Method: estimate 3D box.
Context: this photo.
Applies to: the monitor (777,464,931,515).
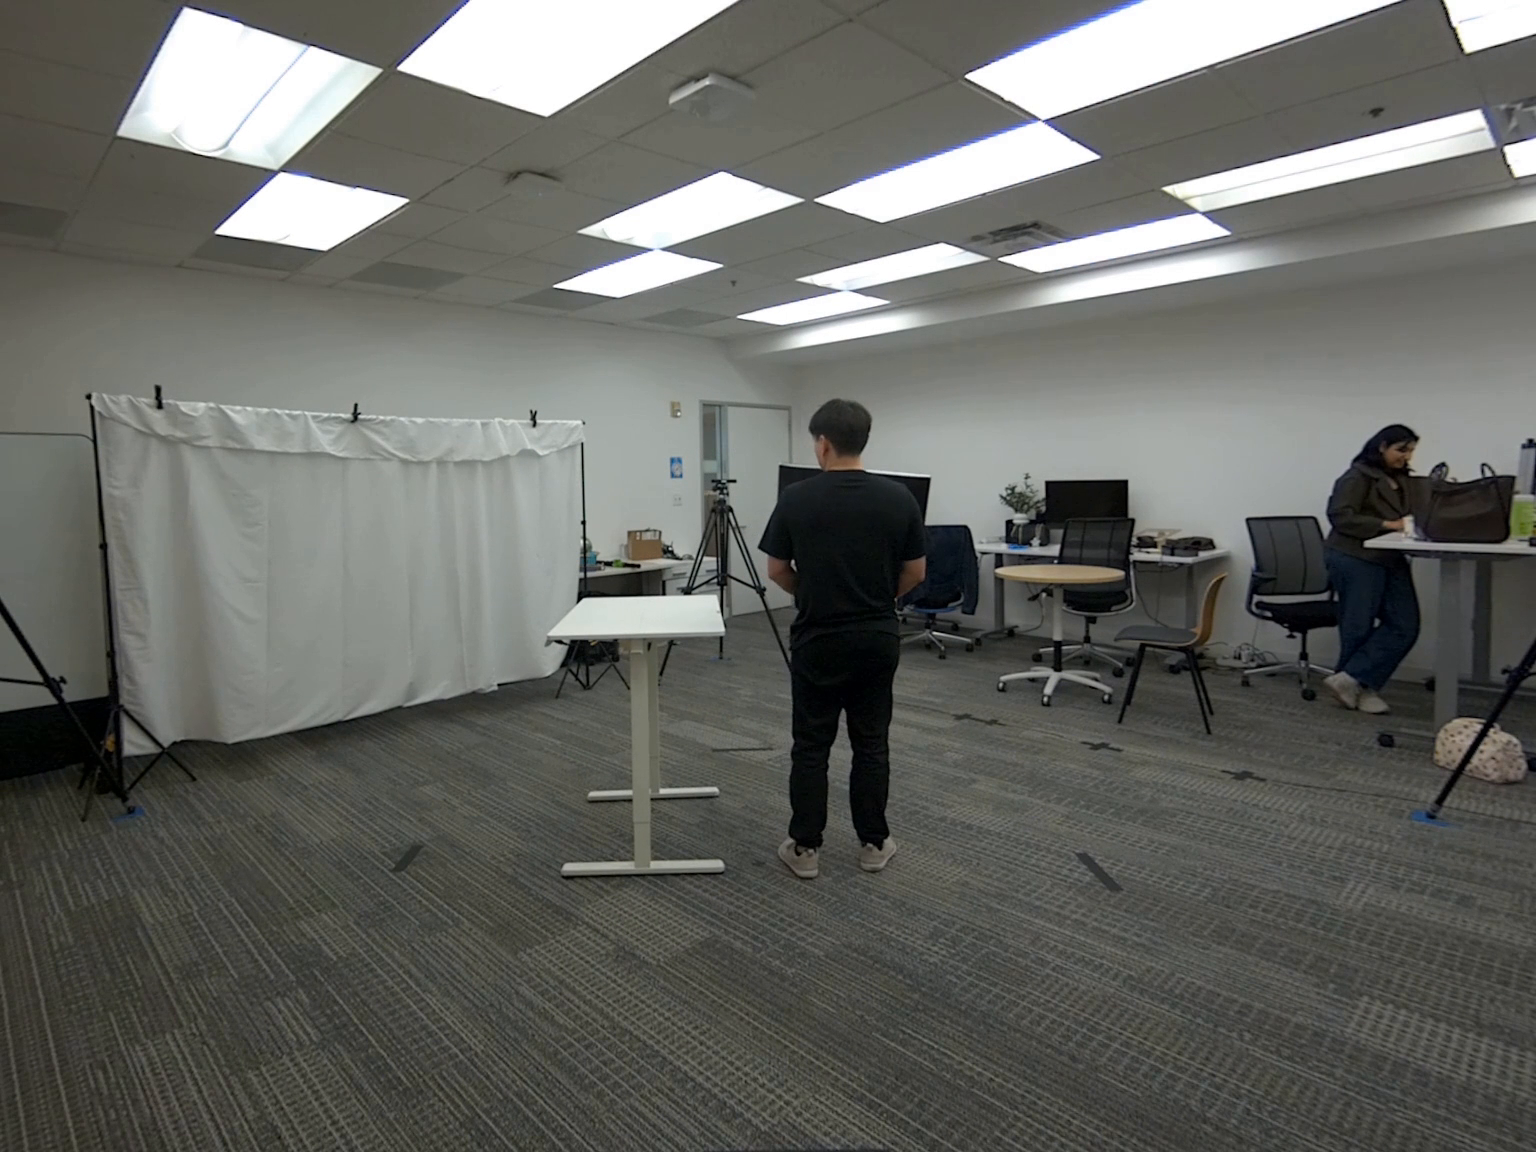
[{"bbox_3d":[0.296,-0.134,3.214,0.543,0.516,0.188,6,14,7],"label":"monitor"}]
